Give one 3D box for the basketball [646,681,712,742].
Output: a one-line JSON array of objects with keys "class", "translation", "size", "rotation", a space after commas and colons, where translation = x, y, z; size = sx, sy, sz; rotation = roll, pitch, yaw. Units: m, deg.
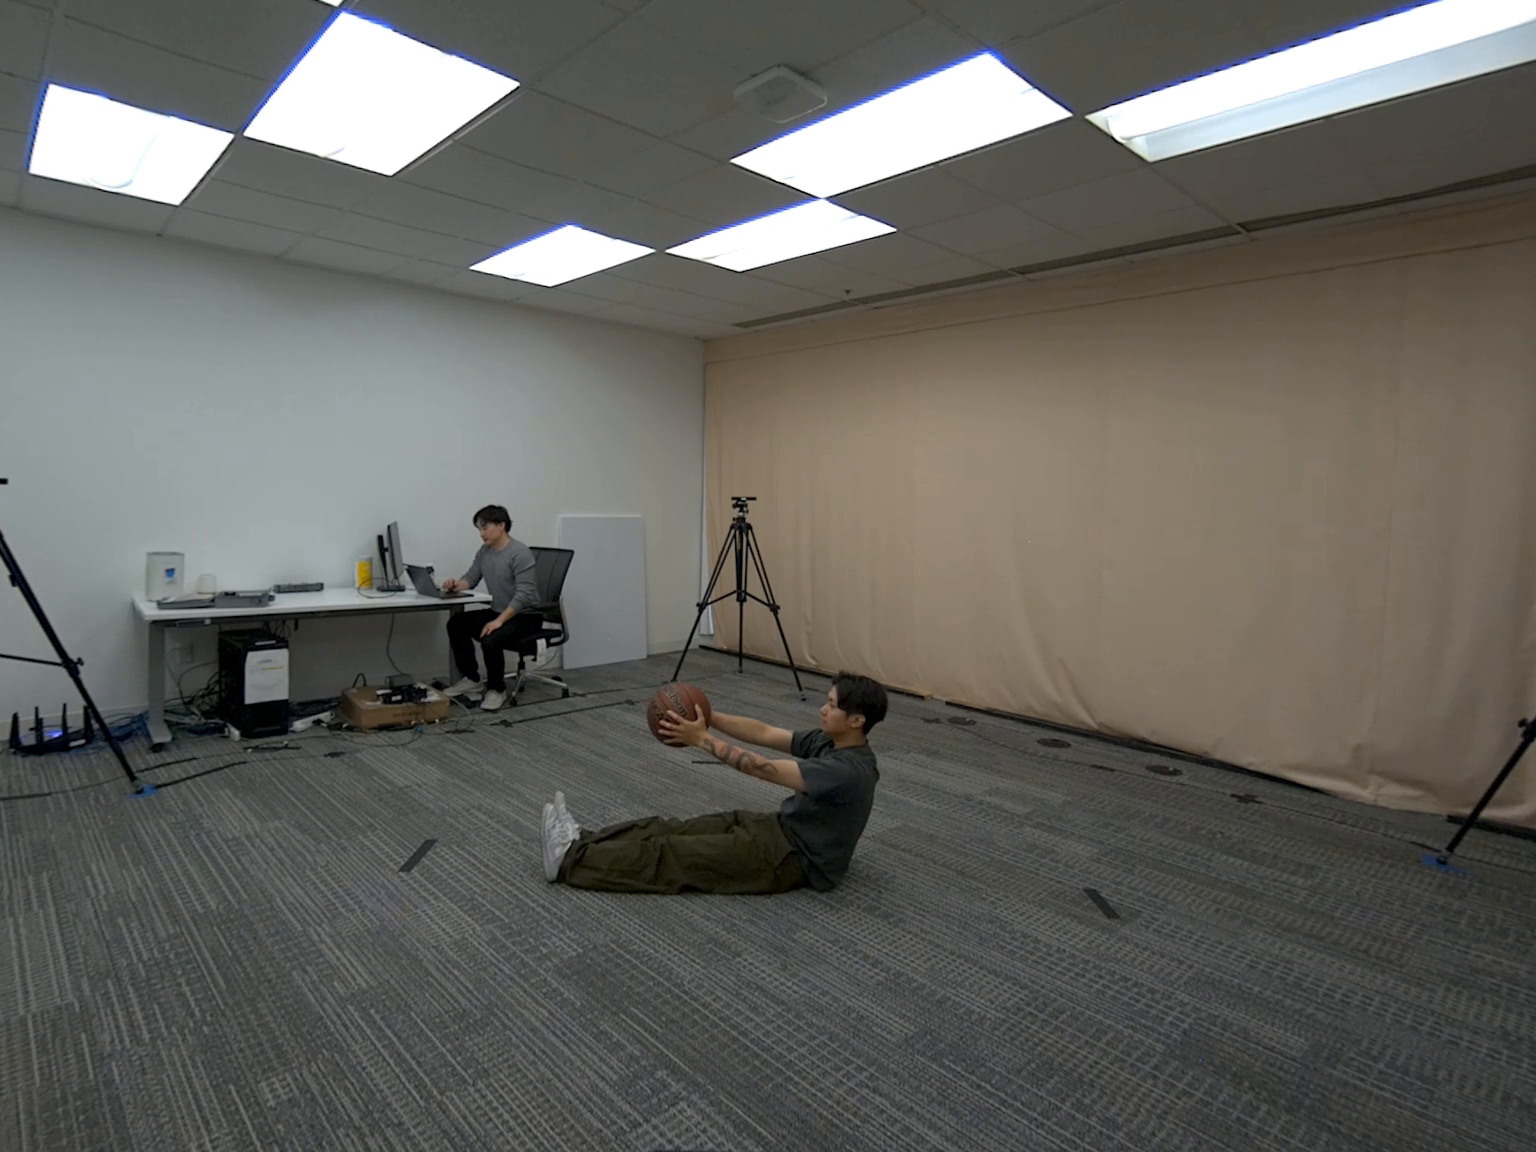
[{"class": "basketball", "translation": [-0.337, 0.517, 3.103], "size": [0.236, 0.235, 0.237], "rotation": [1, 4, -1]}]
